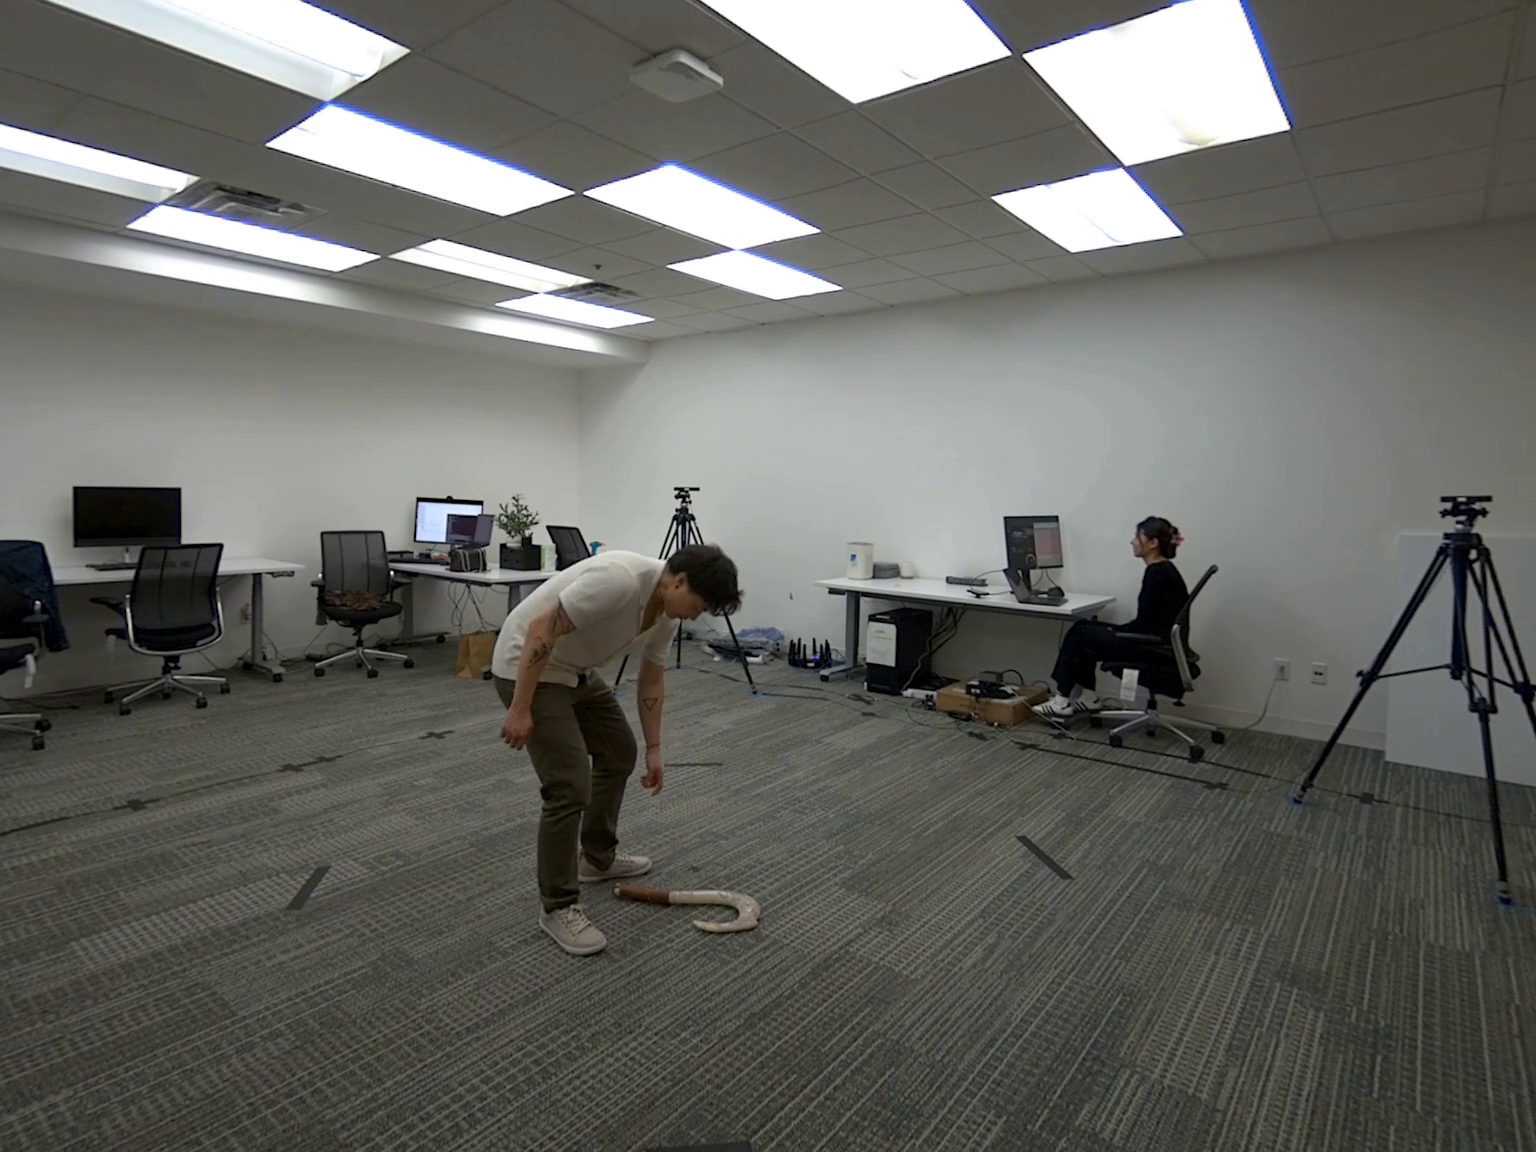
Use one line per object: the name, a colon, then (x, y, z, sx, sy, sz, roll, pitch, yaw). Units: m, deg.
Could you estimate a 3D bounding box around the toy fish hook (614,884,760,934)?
toy fish hook: (-0.288, 1.076, 2.773, 0.513, 0.048, 0.222, 2, 4, 11)
